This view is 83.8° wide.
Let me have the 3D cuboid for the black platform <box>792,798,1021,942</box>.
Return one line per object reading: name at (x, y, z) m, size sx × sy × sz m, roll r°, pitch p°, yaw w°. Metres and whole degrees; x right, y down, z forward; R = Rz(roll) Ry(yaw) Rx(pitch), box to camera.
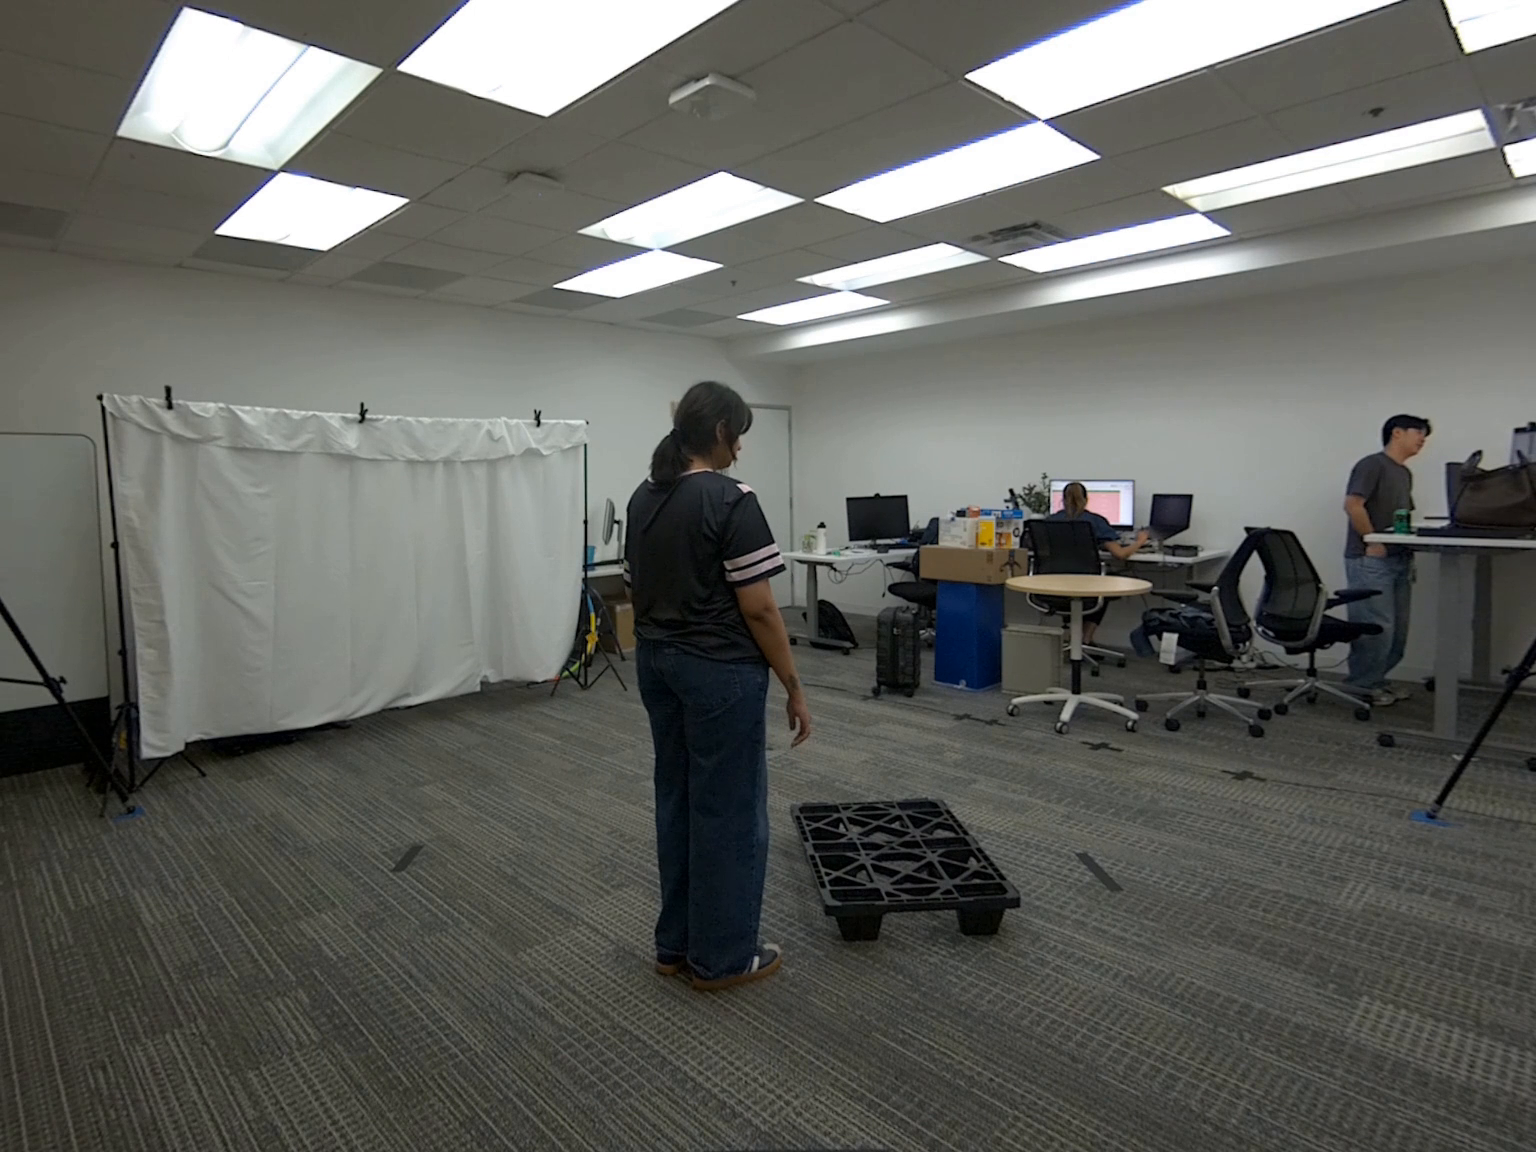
black platform at (0.428, 0.990, 2.942) m, size 0.603 × 0.142 × 0.812 m, roll -2°, pitch 6°, yaw -5°
